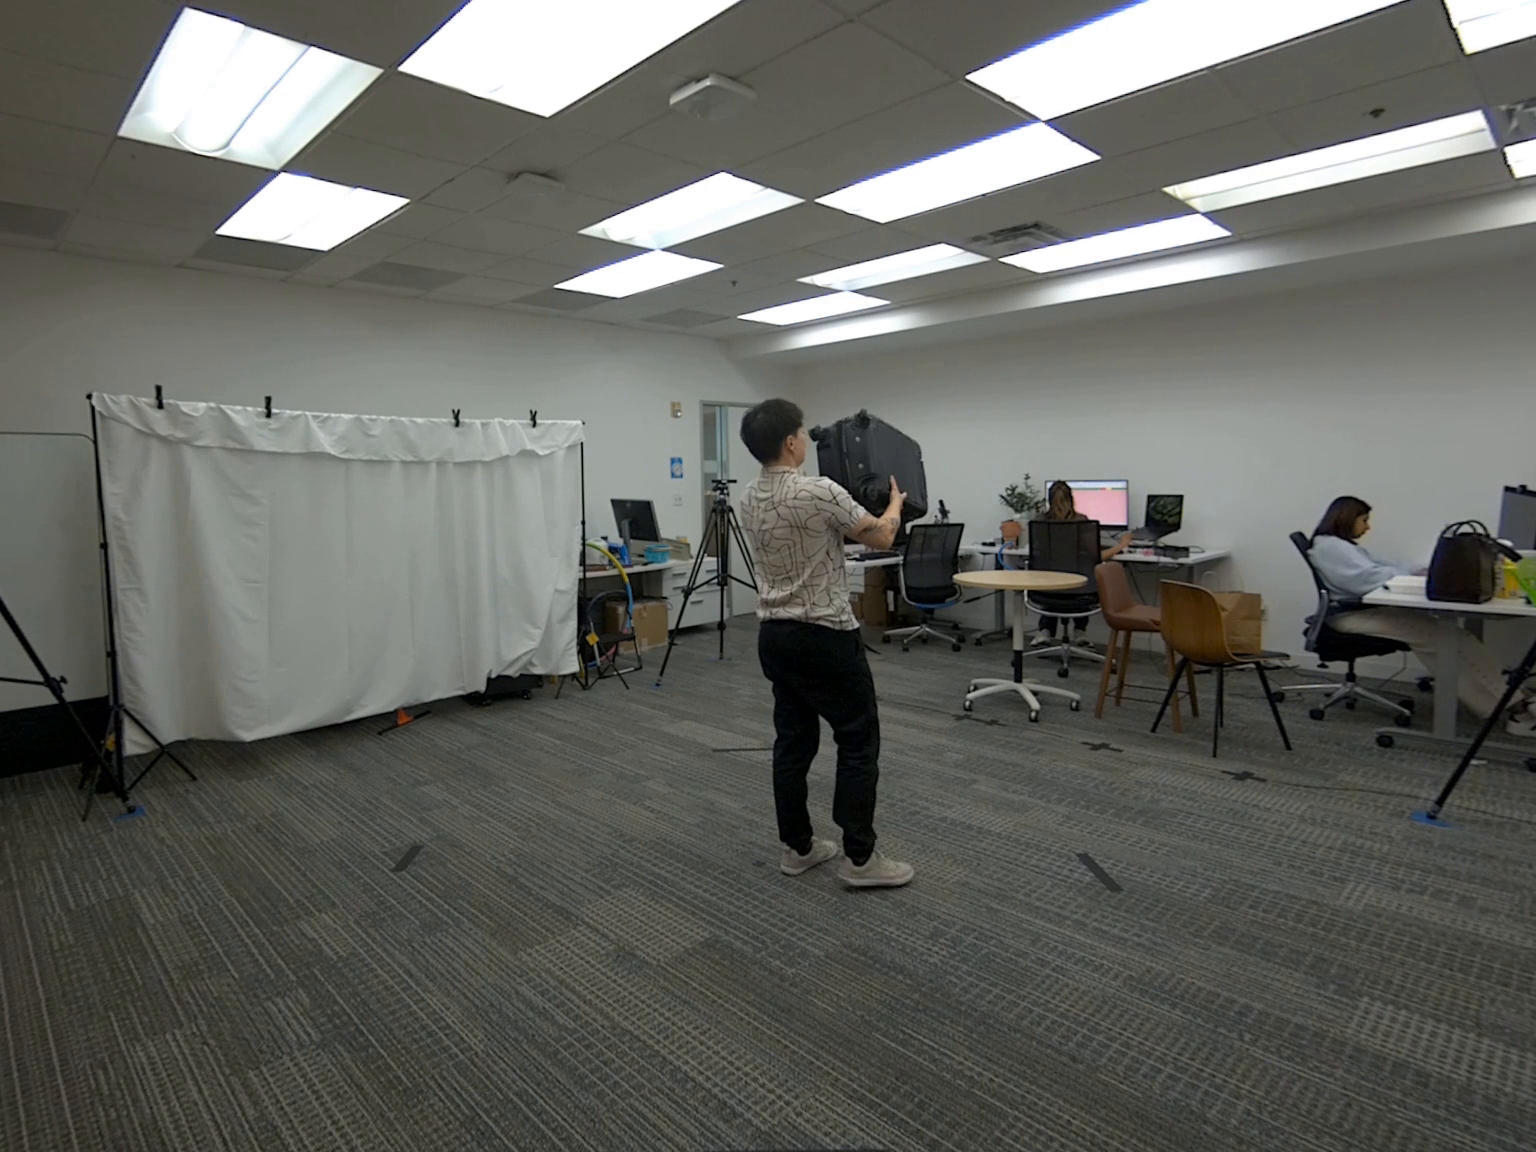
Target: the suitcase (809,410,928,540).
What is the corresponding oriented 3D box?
[{"bbox_3d":[0.416,-0.416,3.366,0.253,0.381,0.531,-16,-16,33],"label":"suitcase"}]
